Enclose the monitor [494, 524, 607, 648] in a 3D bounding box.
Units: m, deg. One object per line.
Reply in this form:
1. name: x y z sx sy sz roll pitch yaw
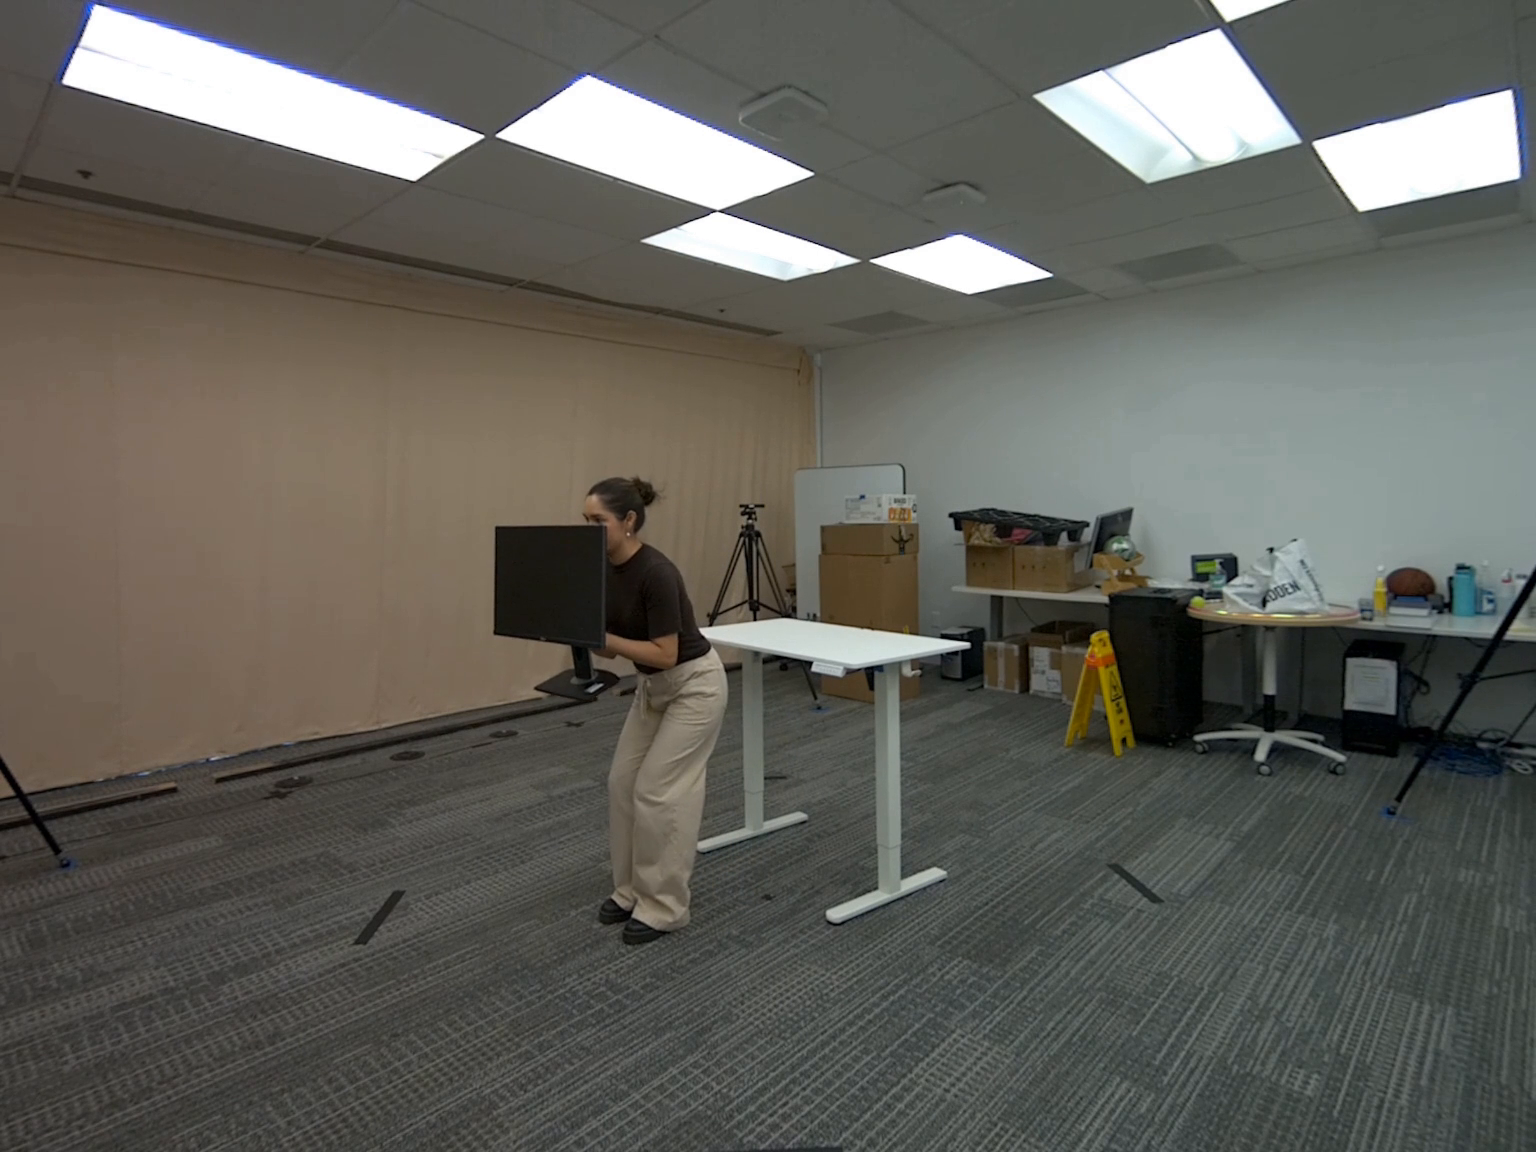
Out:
1. monitor: -0.635 0.104 2.592 0.556 0.518 0.183 1 14 39
